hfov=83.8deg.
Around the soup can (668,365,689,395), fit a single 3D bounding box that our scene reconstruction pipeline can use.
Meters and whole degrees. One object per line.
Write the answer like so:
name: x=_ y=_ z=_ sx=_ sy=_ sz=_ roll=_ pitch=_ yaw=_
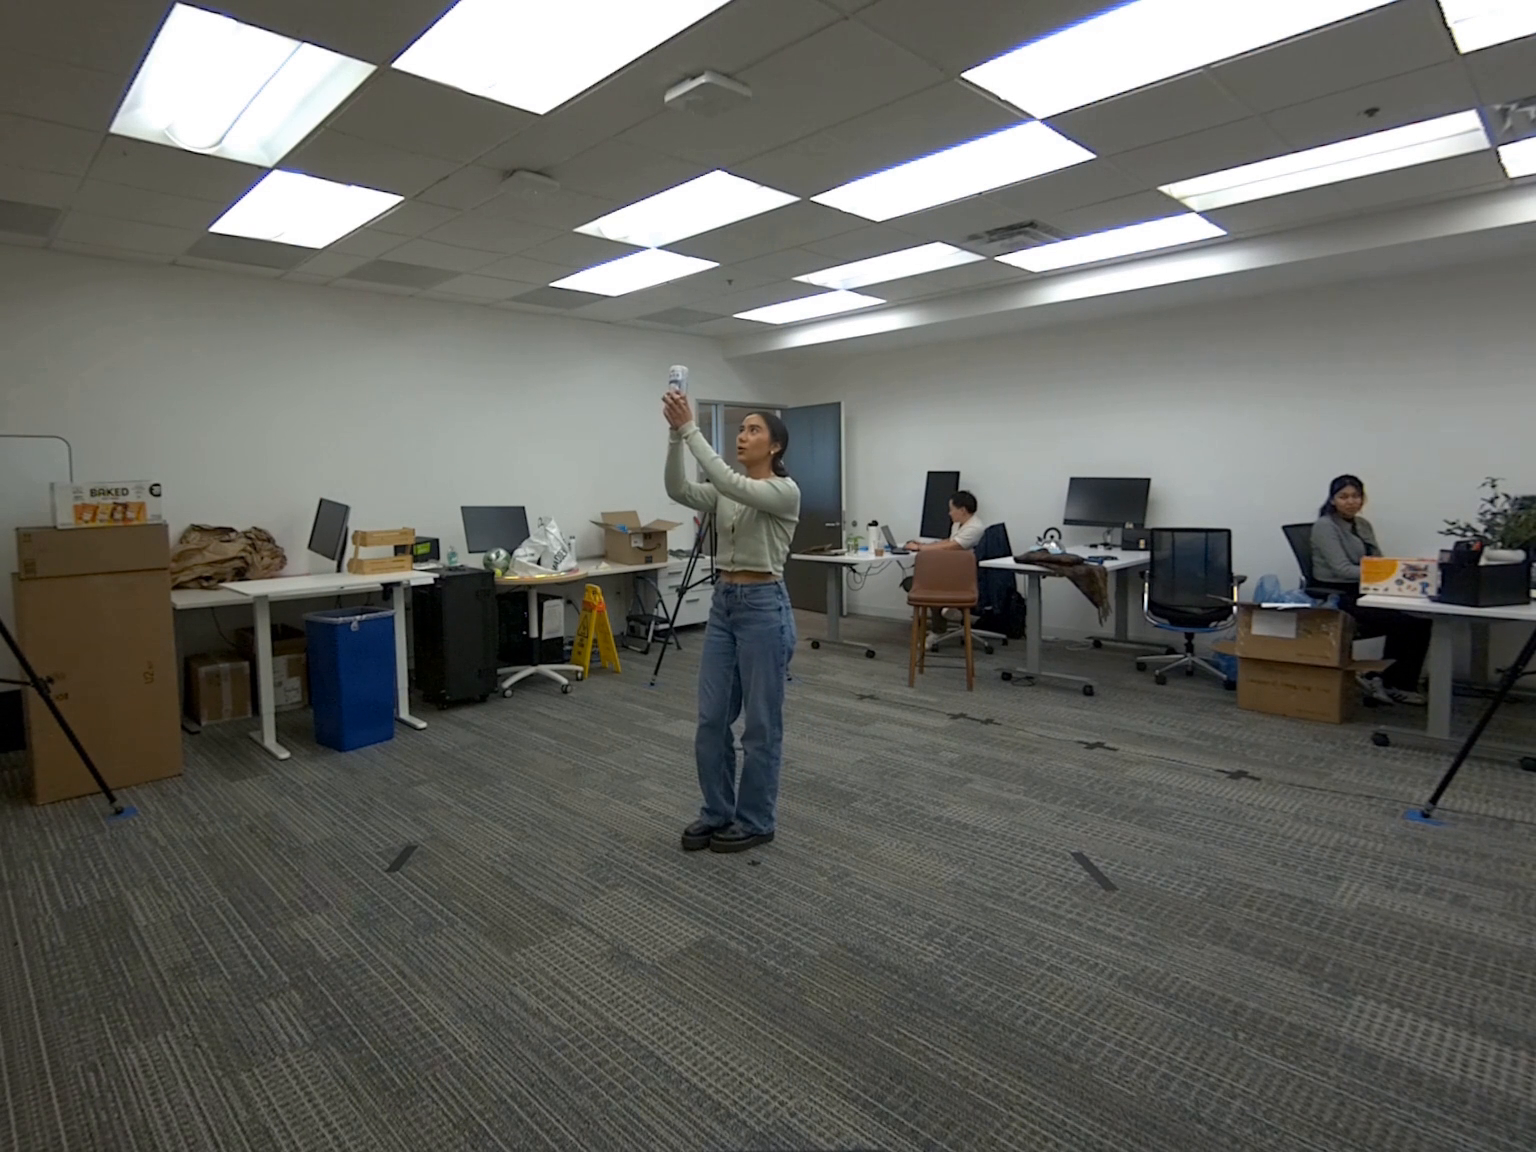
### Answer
soup can: x=-0.319 y=-0.682 z=3.036 sx=0.067 sy=0.122 sz=0.067 roll=1 pitch=-3 yaw=-2
